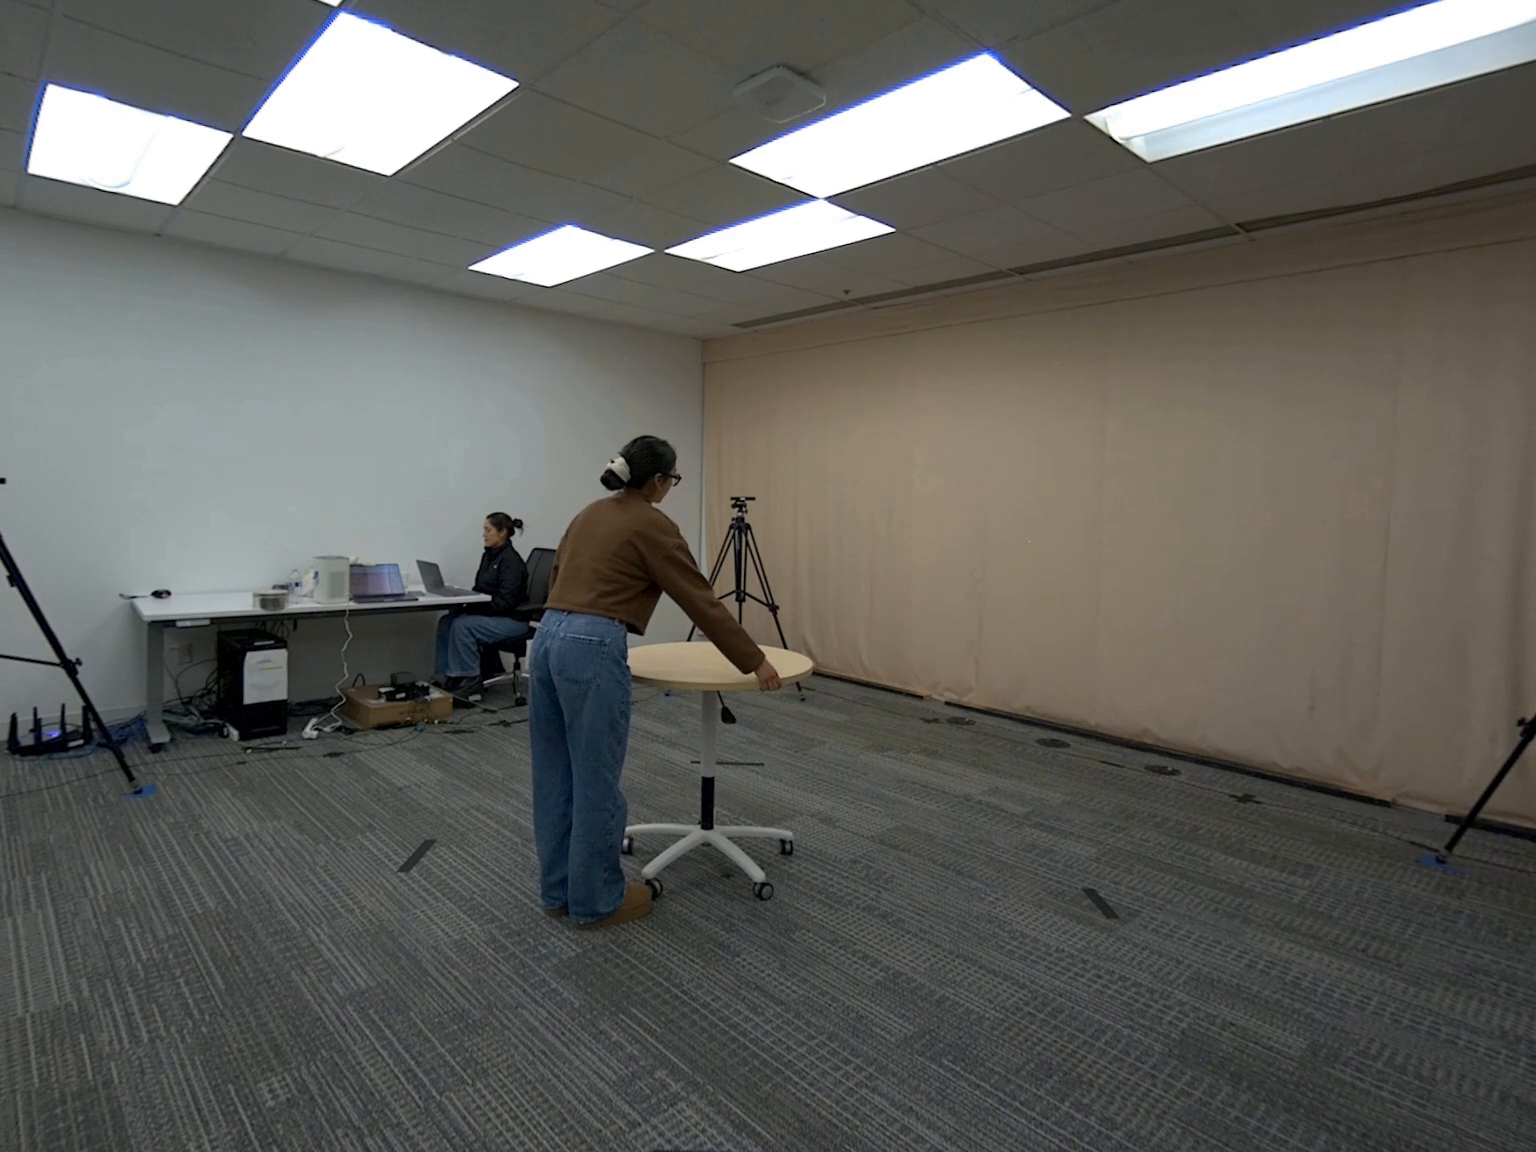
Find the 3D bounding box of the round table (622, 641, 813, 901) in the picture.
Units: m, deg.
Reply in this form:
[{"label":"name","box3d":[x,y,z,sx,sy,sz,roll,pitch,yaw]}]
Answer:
[{"label":"round table","box3d":[-0.231,0.710,3.182,0.763,0.792,0.766,1,4,-1]}]
